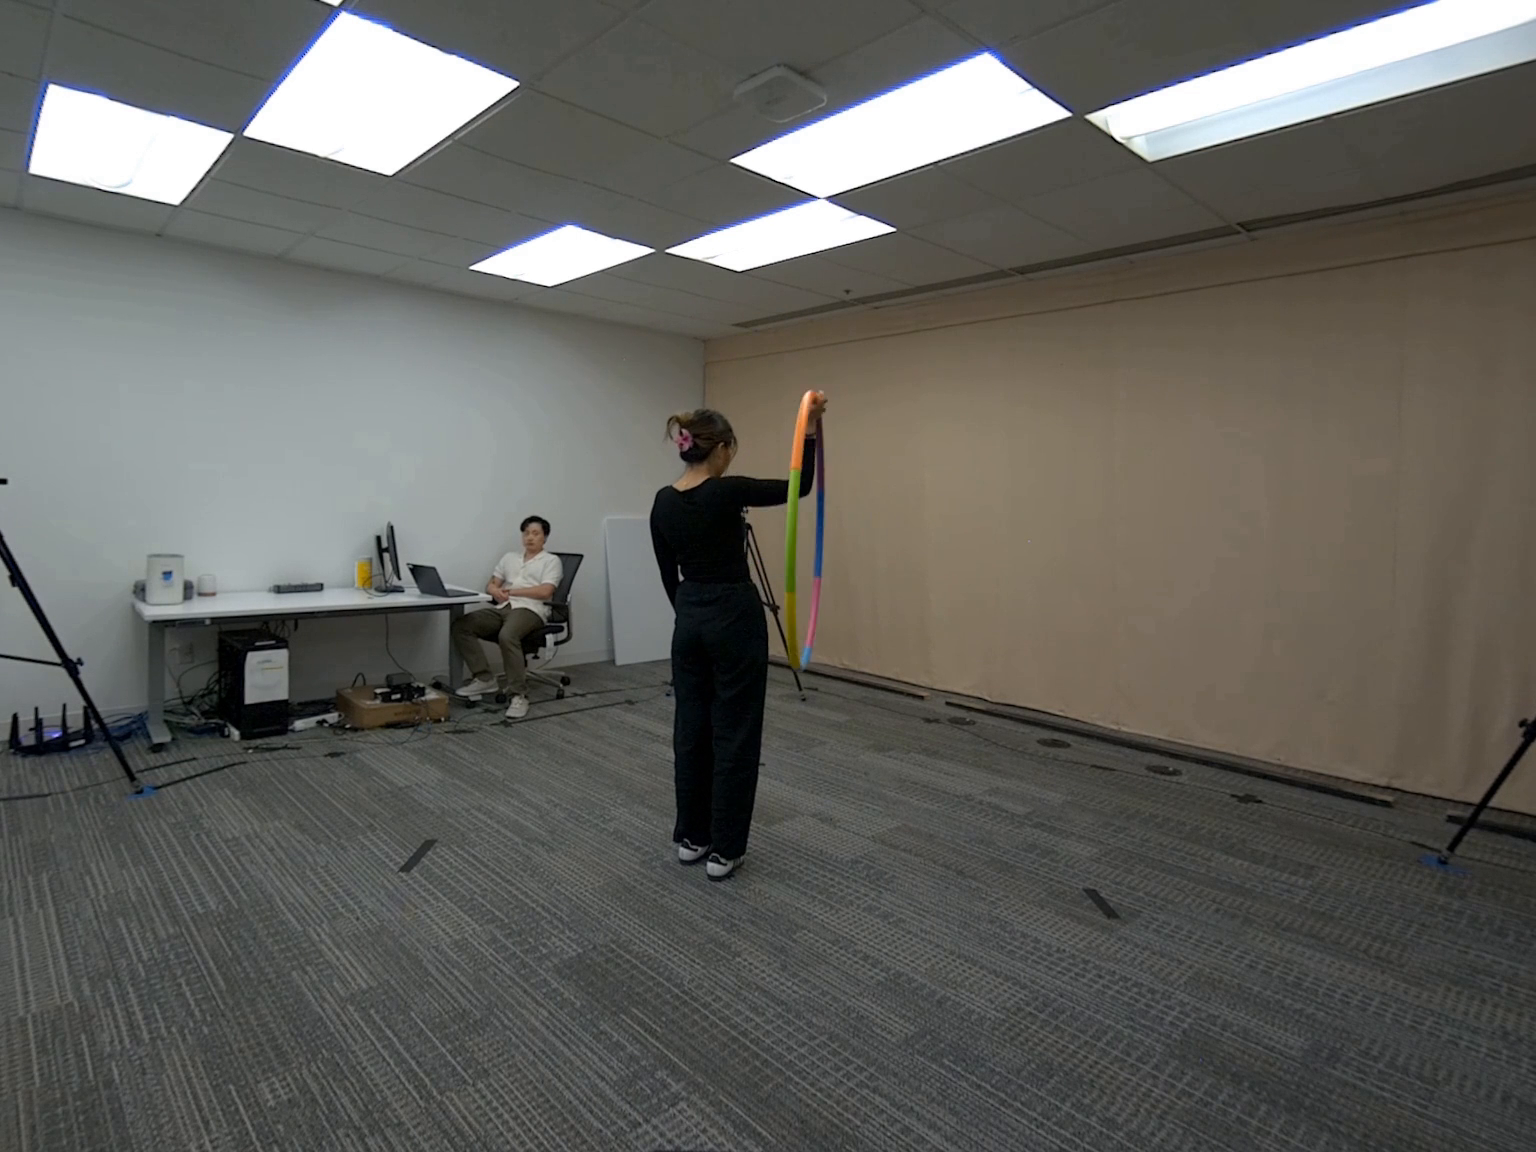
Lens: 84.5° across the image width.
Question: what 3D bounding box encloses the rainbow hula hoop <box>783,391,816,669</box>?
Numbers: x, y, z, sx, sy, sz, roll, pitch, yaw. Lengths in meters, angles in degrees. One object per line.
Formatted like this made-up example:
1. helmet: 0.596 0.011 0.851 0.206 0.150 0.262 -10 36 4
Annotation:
1. rainbow hula hoop: 0.134 -0.152 2.994 0.052 0.983 0.980 3 4 8
